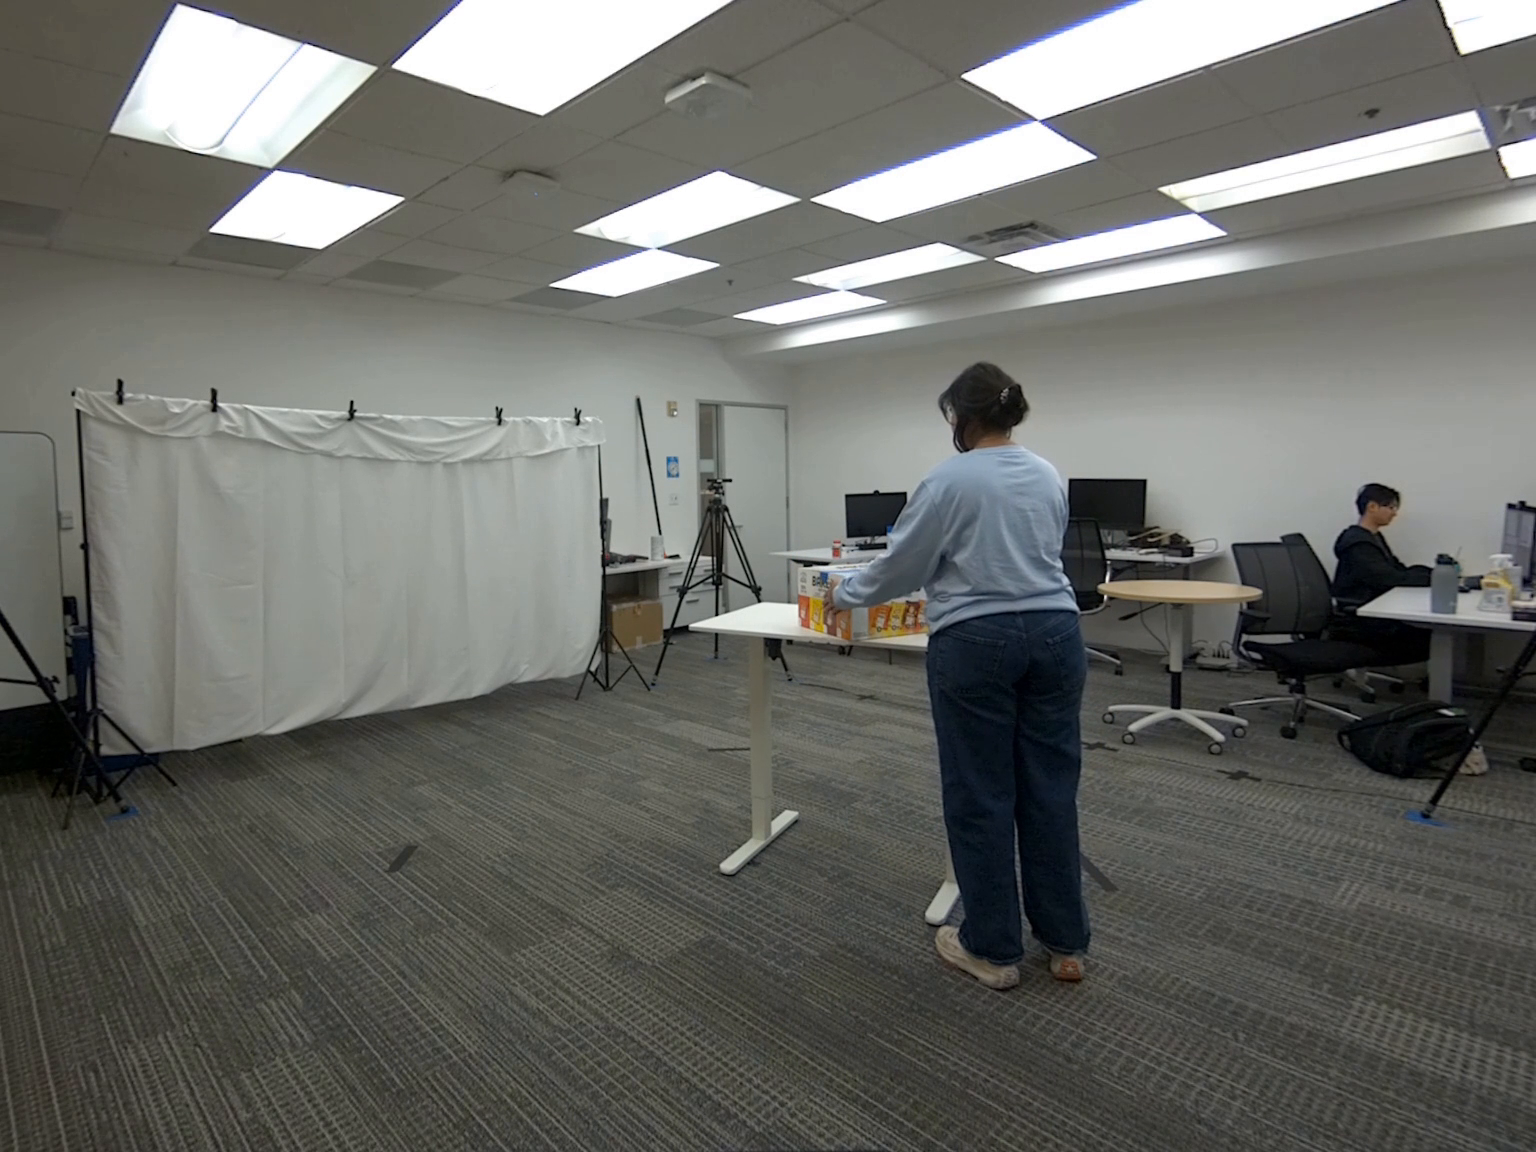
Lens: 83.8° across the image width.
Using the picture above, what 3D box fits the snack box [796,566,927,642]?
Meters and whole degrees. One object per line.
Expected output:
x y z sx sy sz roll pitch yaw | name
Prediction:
0.364 0.076 2.916 0.396 0.205 0.349 -4 7 -27 | snack box
